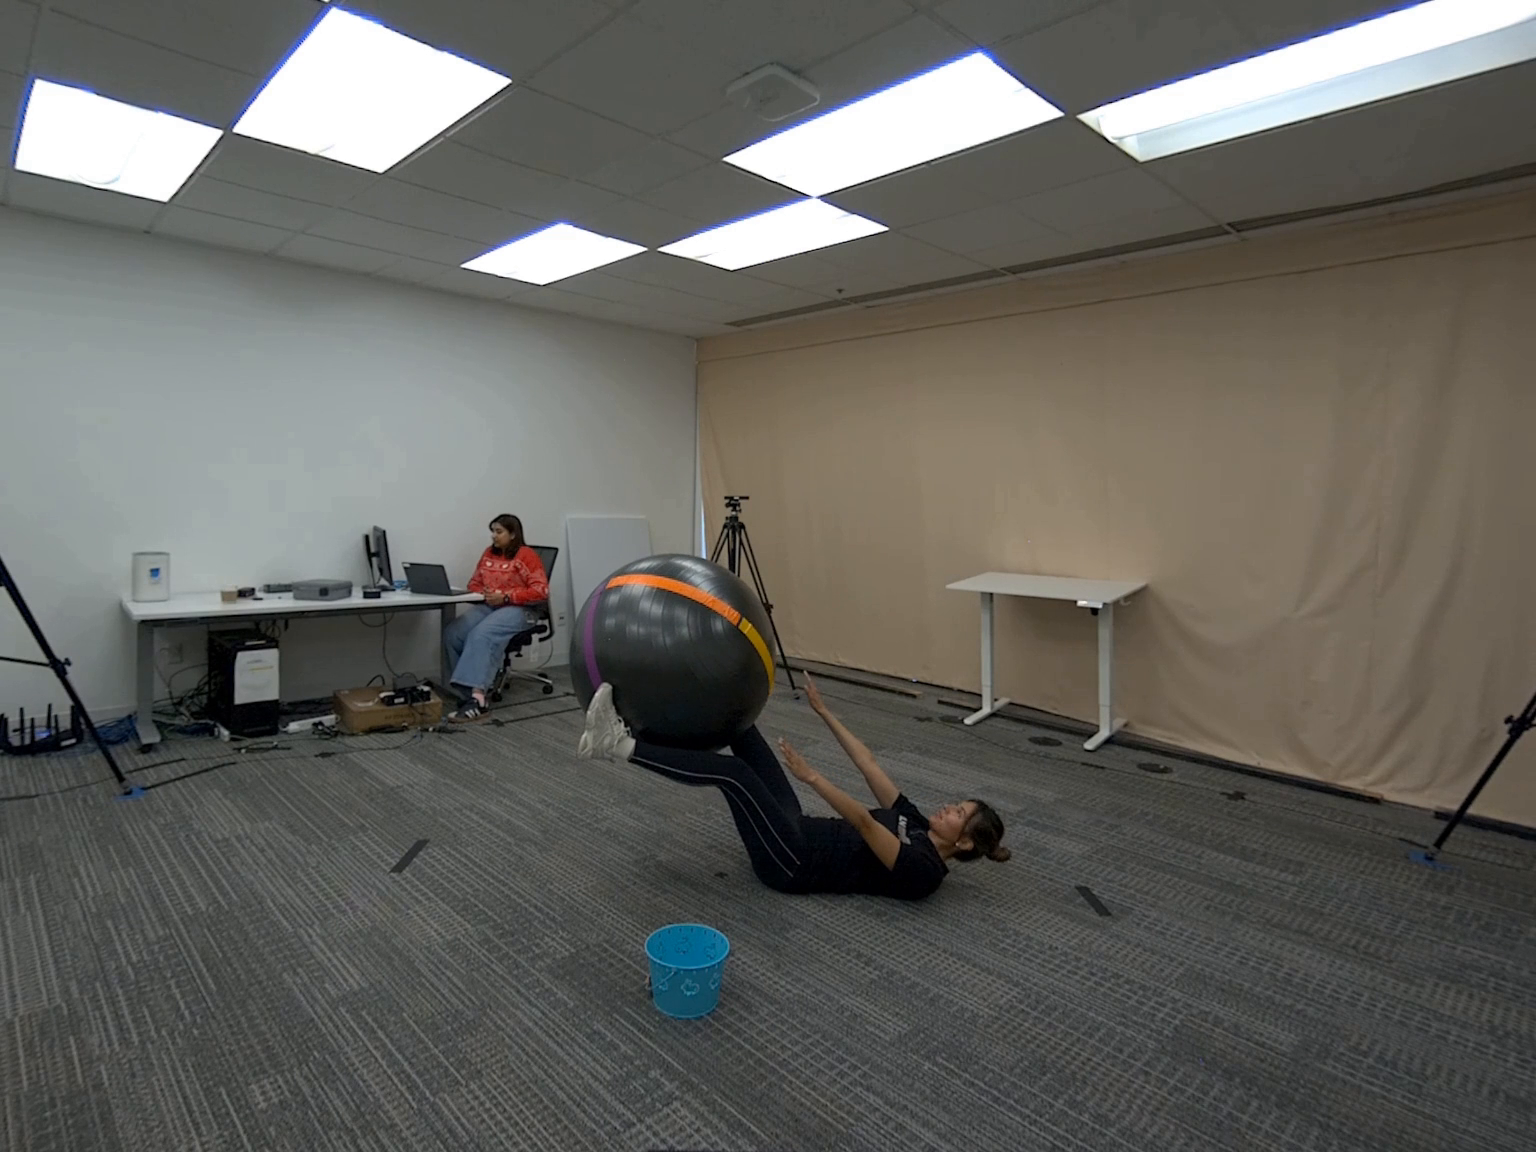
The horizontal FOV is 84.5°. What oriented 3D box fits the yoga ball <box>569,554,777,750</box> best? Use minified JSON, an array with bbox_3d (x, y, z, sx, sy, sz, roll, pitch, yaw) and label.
[{"bbox_3d":[-0.345,0.299,3.100,0.757,0.756,0.761,1,4,-1],"label":"yoga ball"}]
